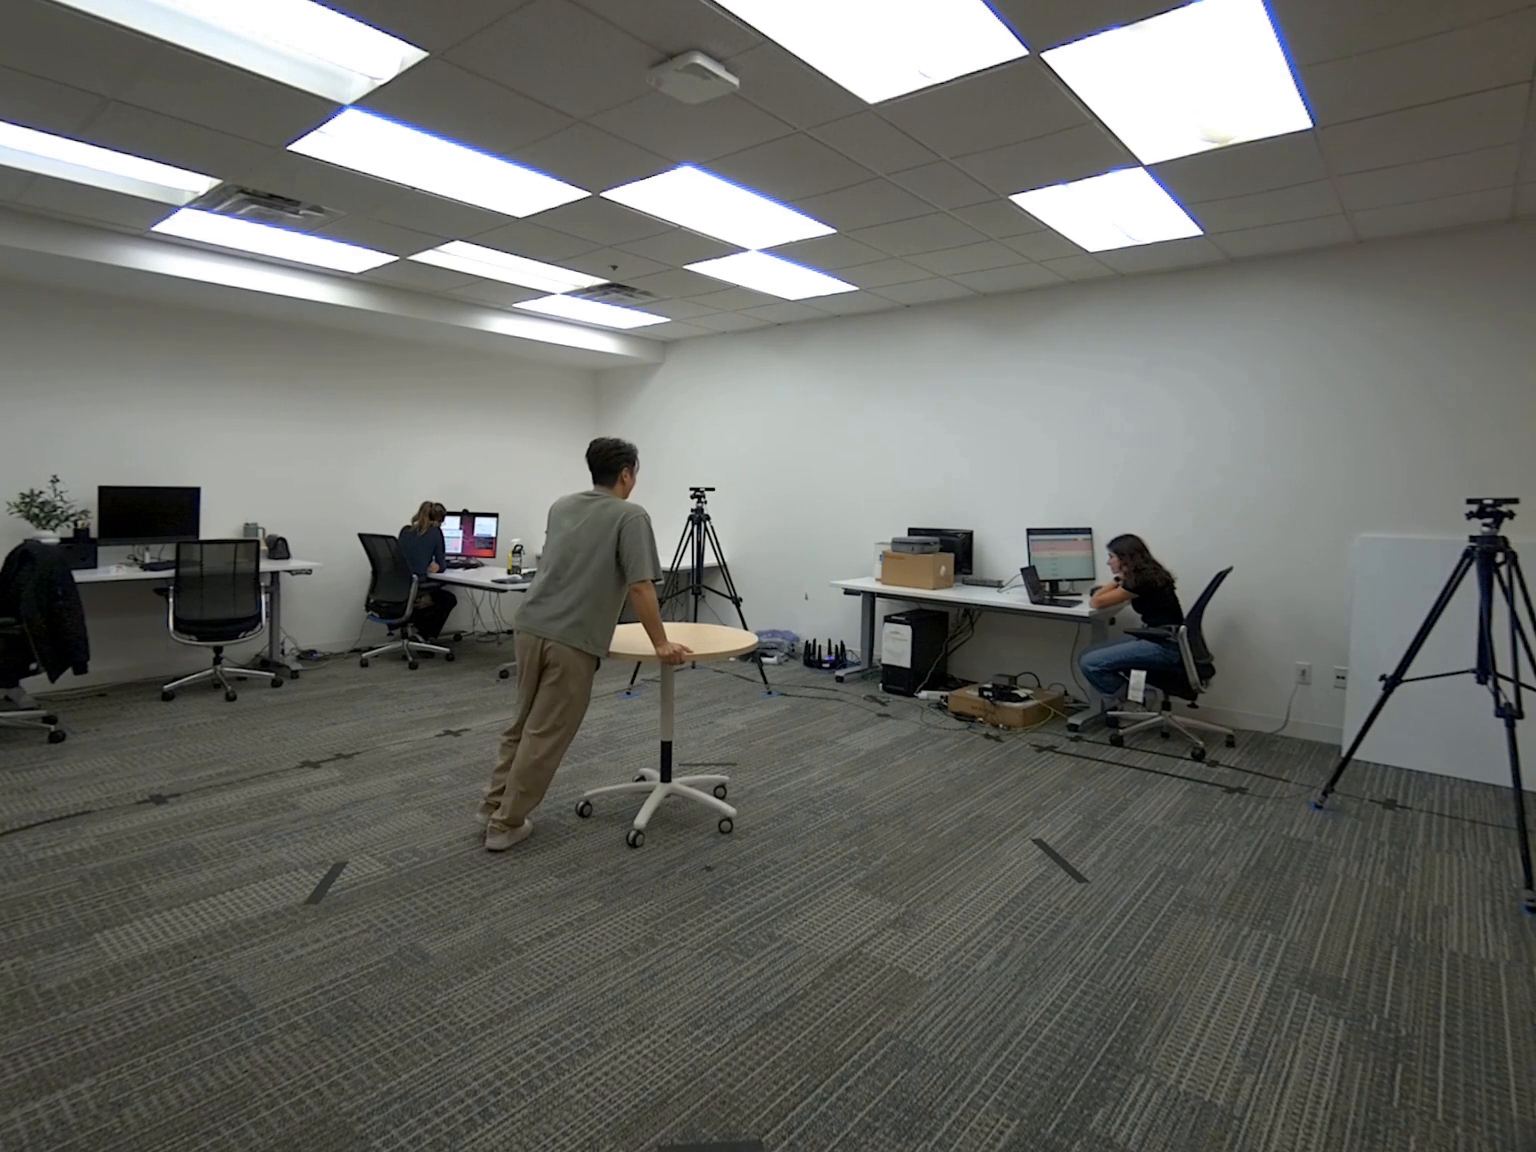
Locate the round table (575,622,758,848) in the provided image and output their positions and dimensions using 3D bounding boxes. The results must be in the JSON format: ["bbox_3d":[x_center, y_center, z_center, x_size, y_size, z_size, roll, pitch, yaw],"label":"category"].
[{"bbox_3d":[-0.433,0.634,3.589,0.784,0.784,0.789,0,4,-2],"label":"round table"}]
